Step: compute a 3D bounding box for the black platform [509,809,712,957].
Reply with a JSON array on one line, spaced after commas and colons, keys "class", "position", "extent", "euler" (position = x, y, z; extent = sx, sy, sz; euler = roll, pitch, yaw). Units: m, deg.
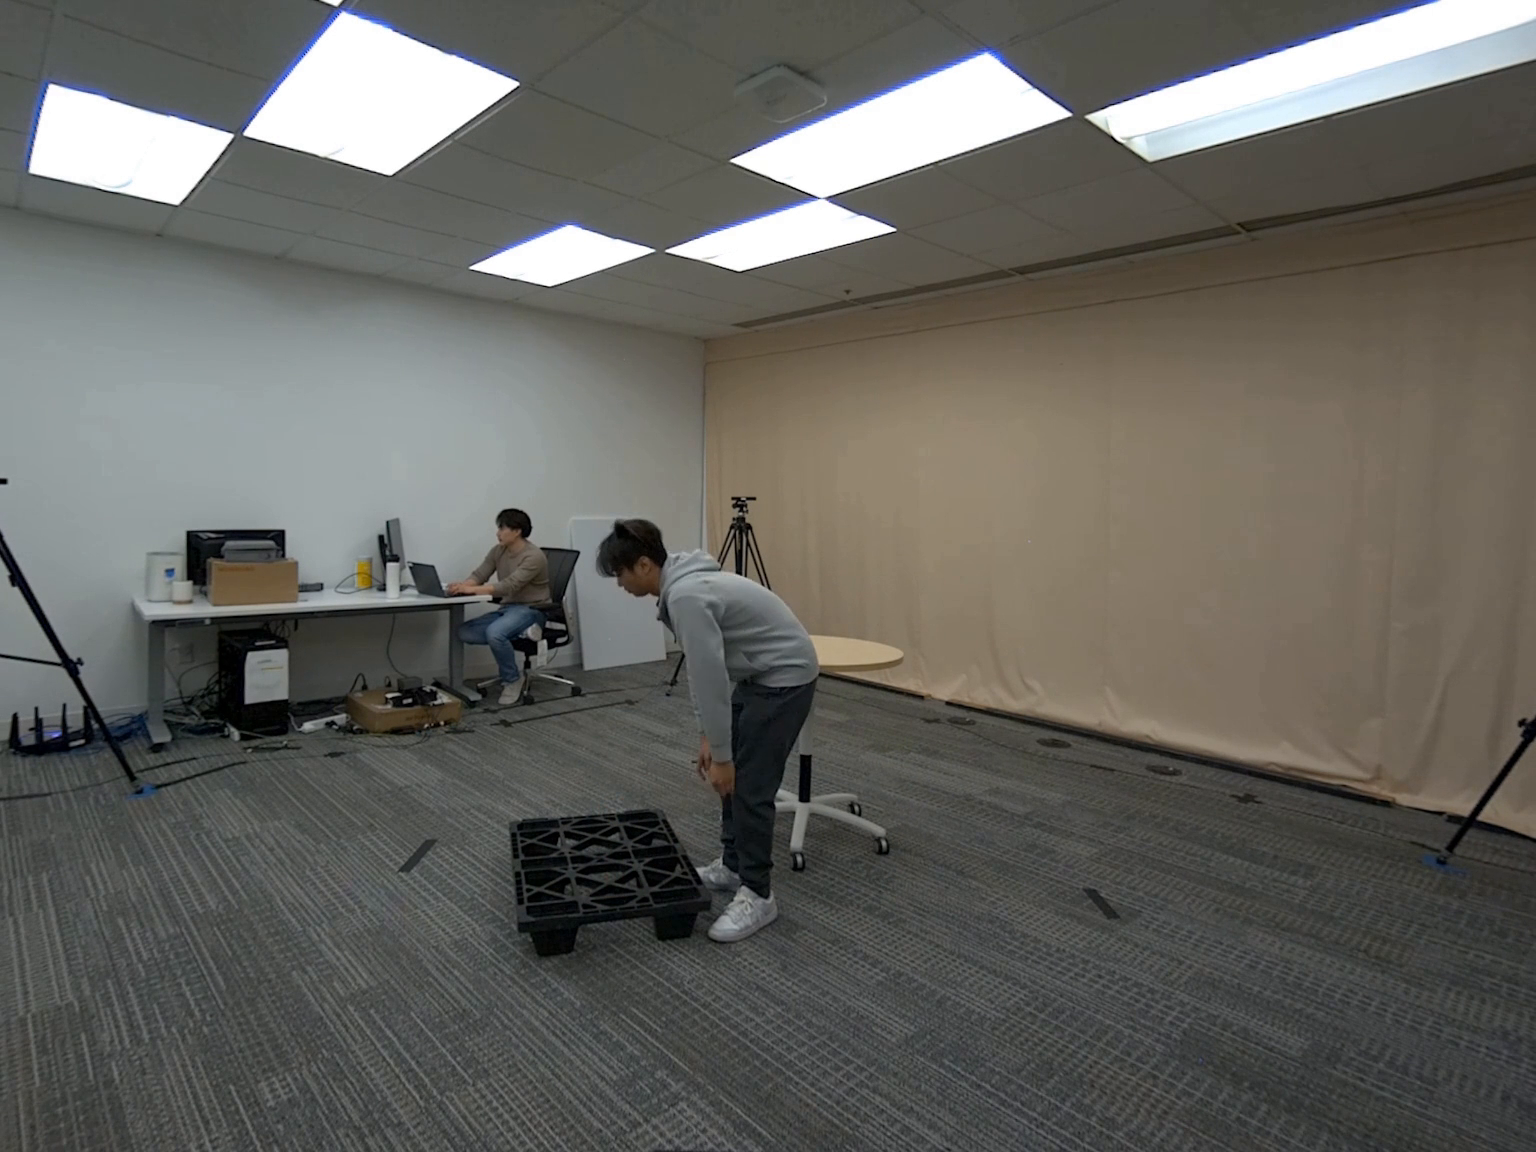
[{"class": "black platform", "position": [-0.587, 1.044, 2.947], "extent": [0.597, 0.143, 0.819], "euler": [0, 5, -18]}]
